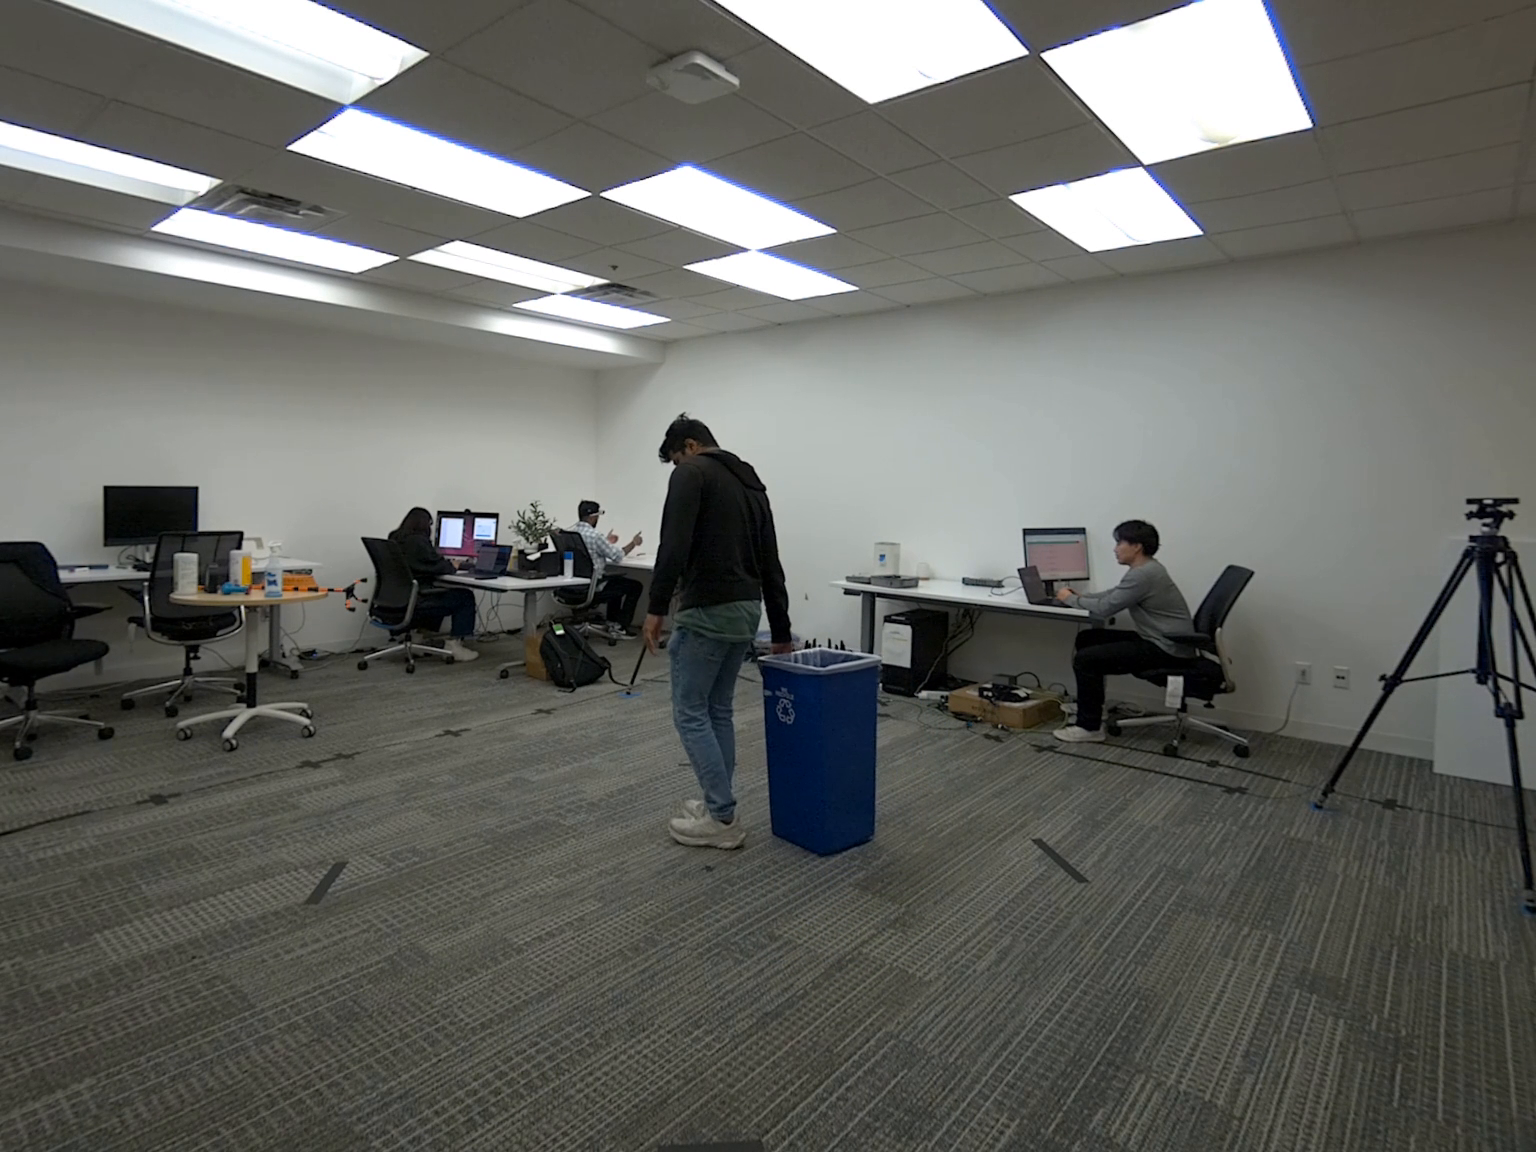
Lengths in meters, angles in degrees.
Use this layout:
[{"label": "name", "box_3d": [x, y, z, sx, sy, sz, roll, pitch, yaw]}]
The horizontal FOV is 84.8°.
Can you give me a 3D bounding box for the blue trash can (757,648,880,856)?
[{"label": "blue trash can", "box_3d": [0.206, 0.683, 3.402, 0.362, 0.713, 0.390, -1, 2, -42]}]
